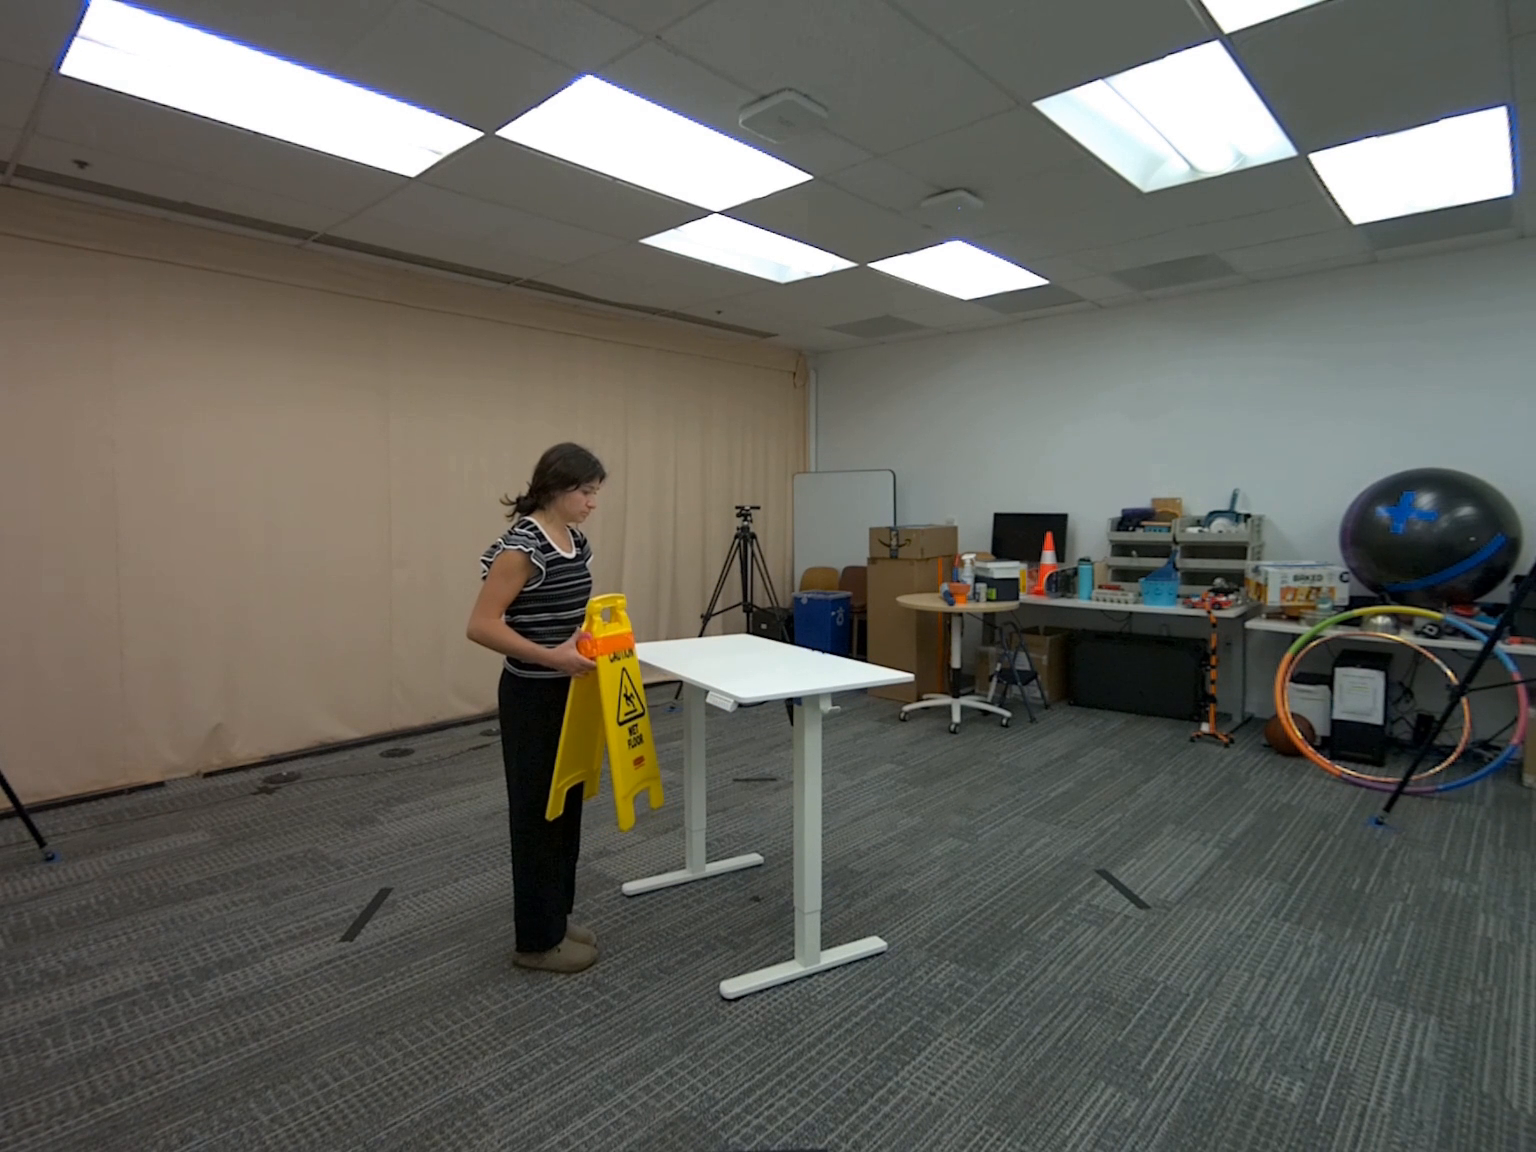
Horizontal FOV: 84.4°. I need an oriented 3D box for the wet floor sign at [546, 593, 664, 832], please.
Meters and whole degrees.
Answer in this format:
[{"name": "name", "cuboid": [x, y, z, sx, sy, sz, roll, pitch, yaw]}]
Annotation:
[{"name": "wet floor sign", "cuboid": [-0.483, 0.387, 2.499, 0.296, 0.646, 0.276, 0, 1, 20]}]
